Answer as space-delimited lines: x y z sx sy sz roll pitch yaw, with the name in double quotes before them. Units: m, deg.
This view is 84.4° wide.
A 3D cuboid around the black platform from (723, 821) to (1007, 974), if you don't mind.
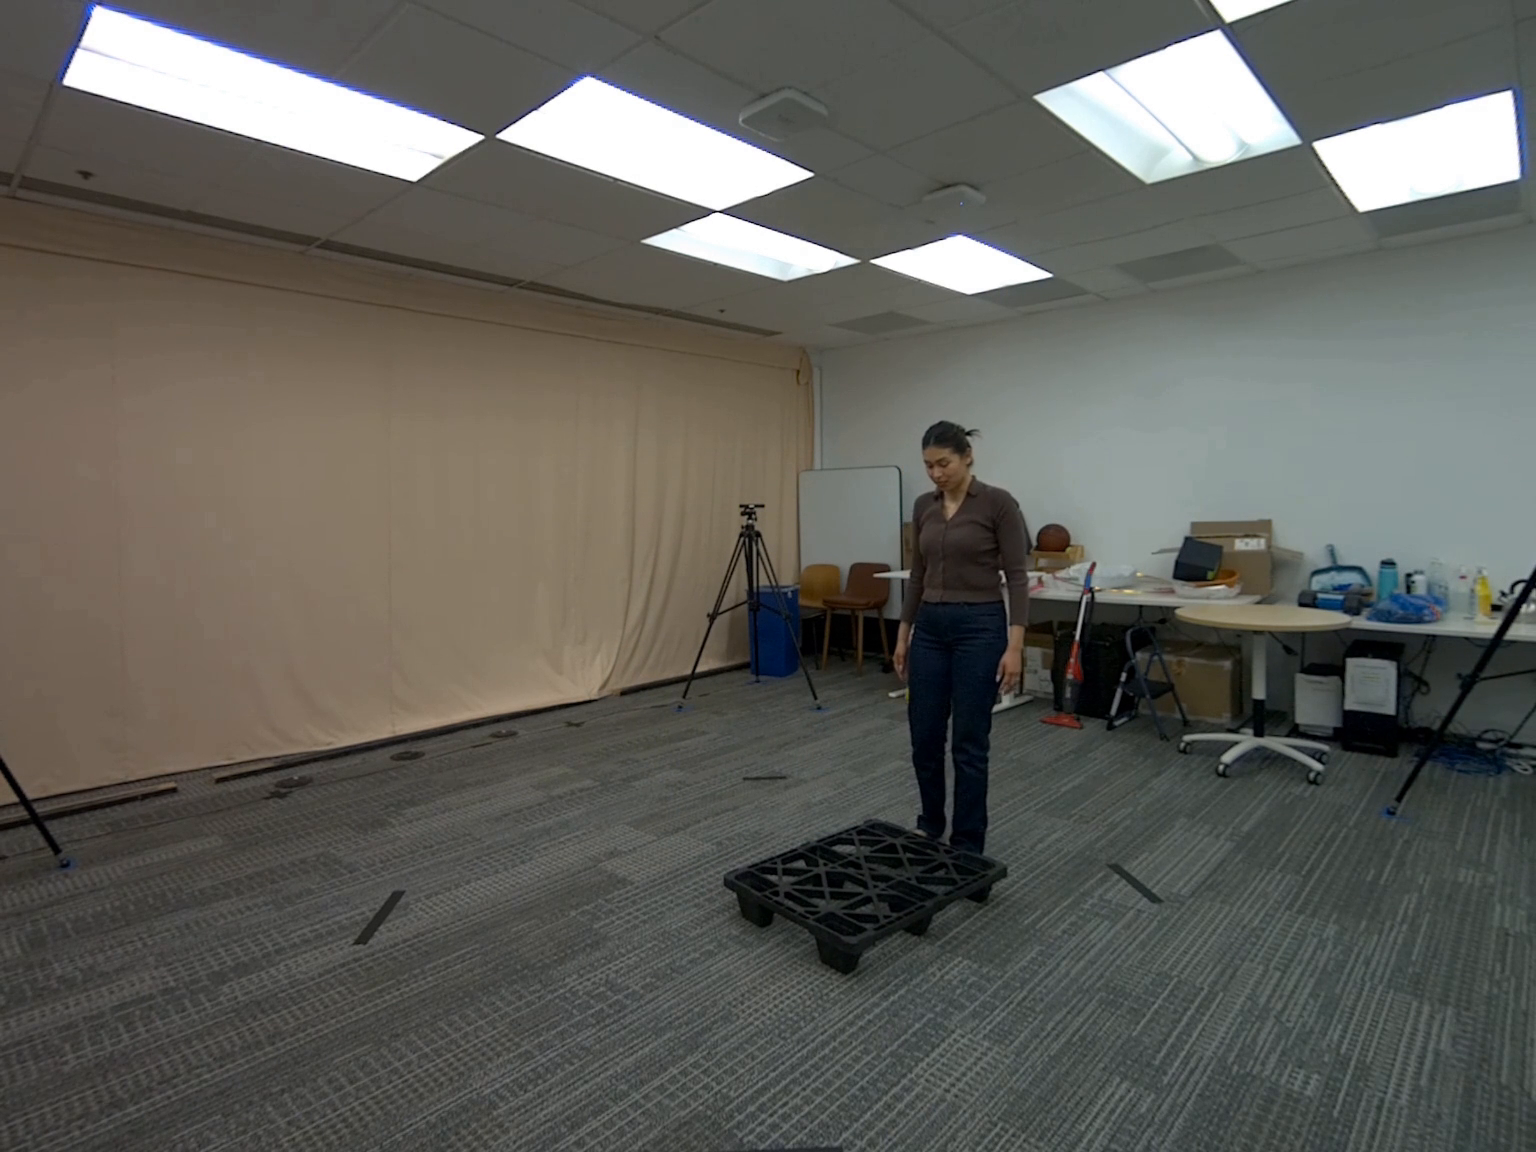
"black platform" 0.335 1.075 2.885 0.781 0.143 0.625 -5 5 -40
